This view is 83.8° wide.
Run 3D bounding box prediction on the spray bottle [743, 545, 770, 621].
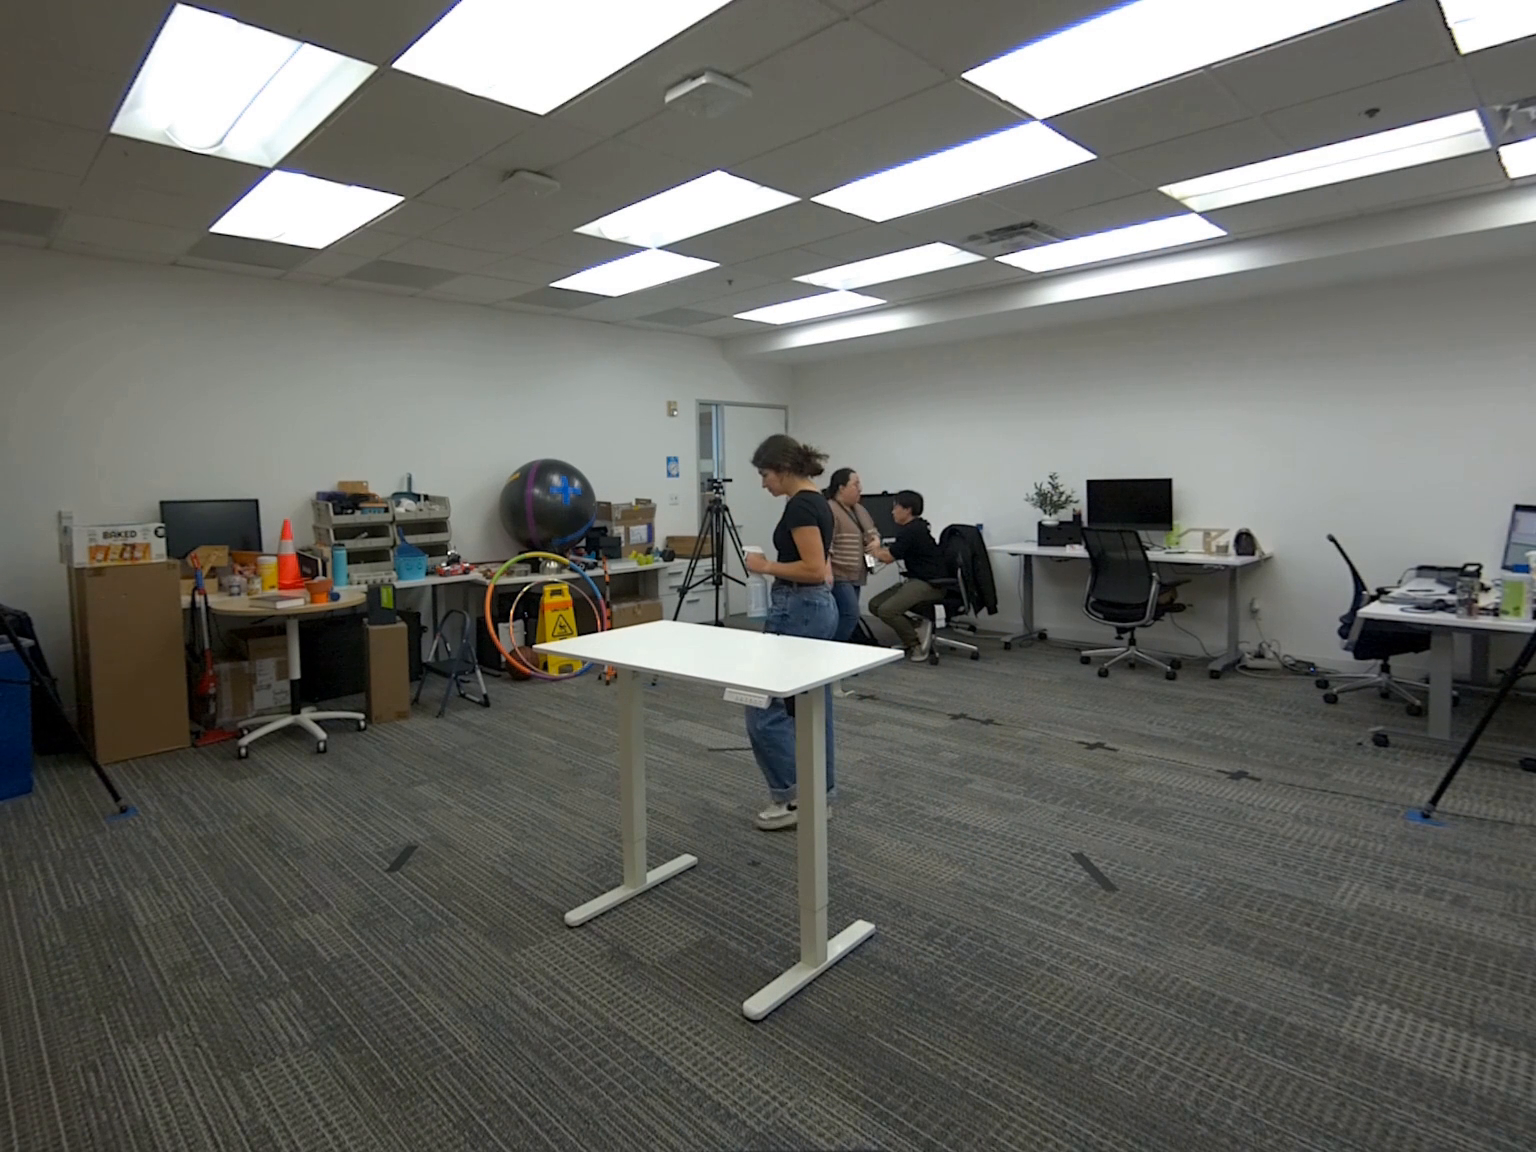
[{"bbox_3d":[-0.044,0.028,3.411,0.091,0.298,0.085,-5,-4,20],"label":"spray bottle"}]
